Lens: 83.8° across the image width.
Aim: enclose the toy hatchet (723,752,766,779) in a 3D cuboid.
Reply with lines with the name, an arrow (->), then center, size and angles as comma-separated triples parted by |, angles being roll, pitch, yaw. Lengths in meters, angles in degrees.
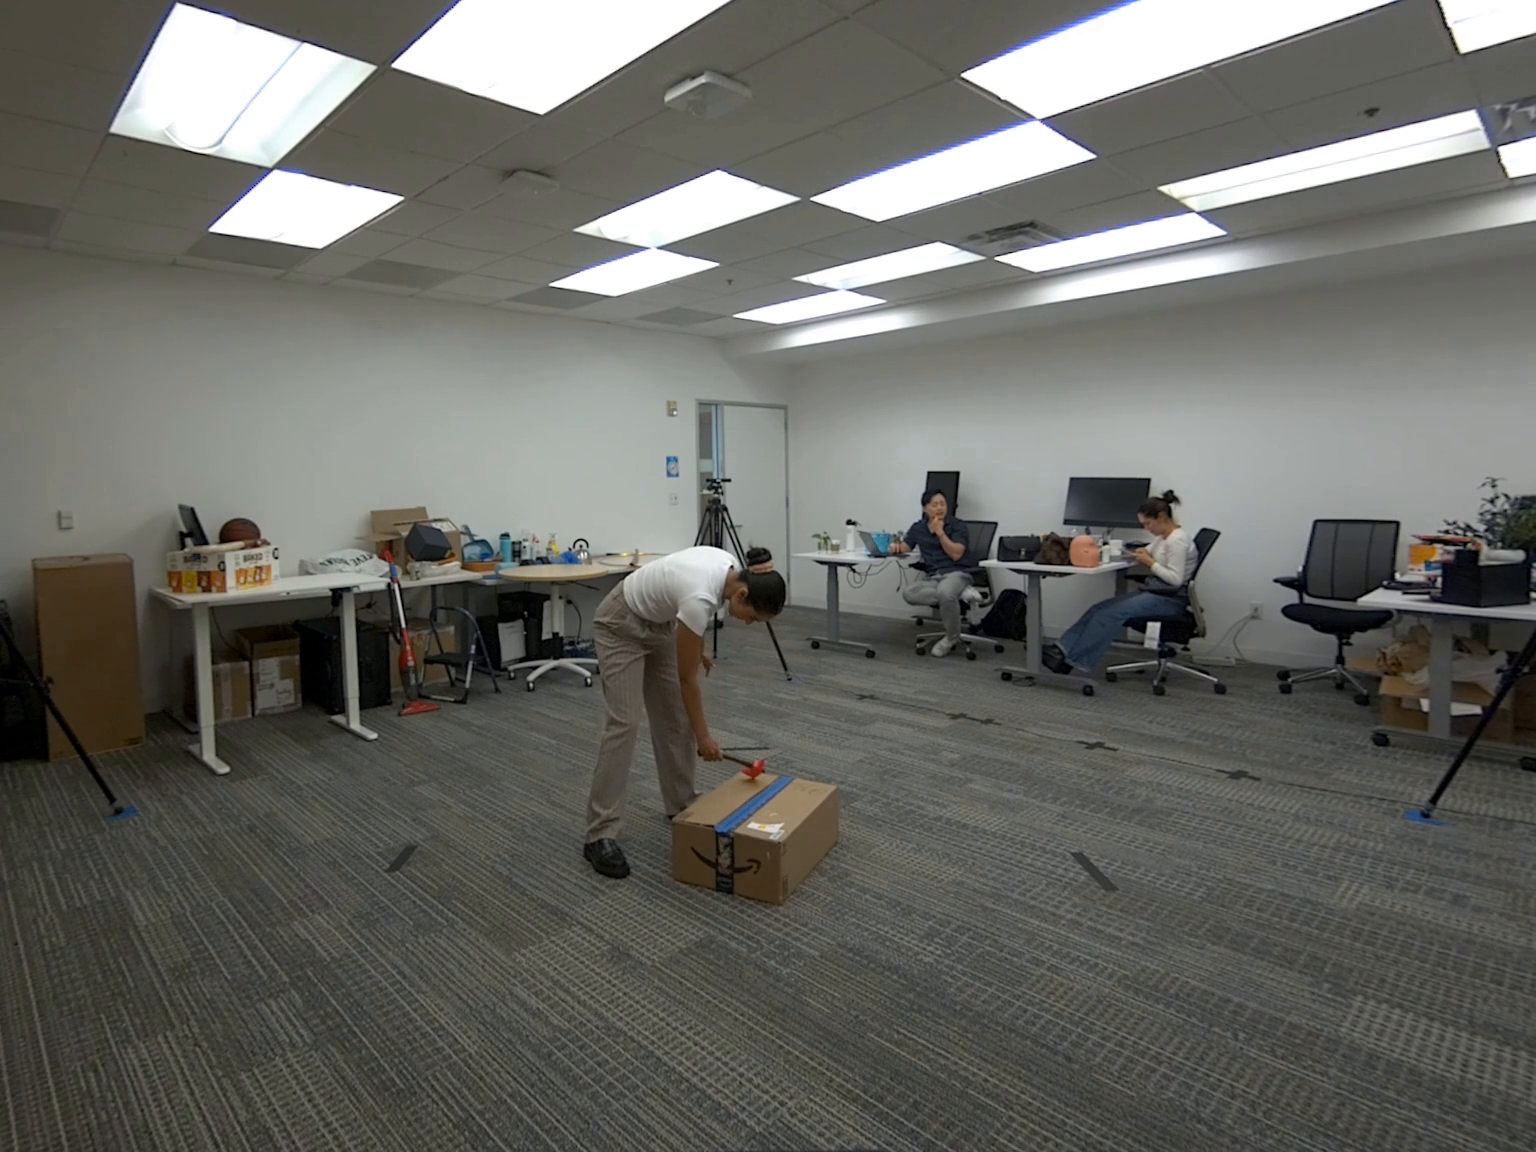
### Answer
toy hatchet -> -0.148, 0.738, 3.347 | 0.272, 0.127, 0.030 | 5, 44, 7
